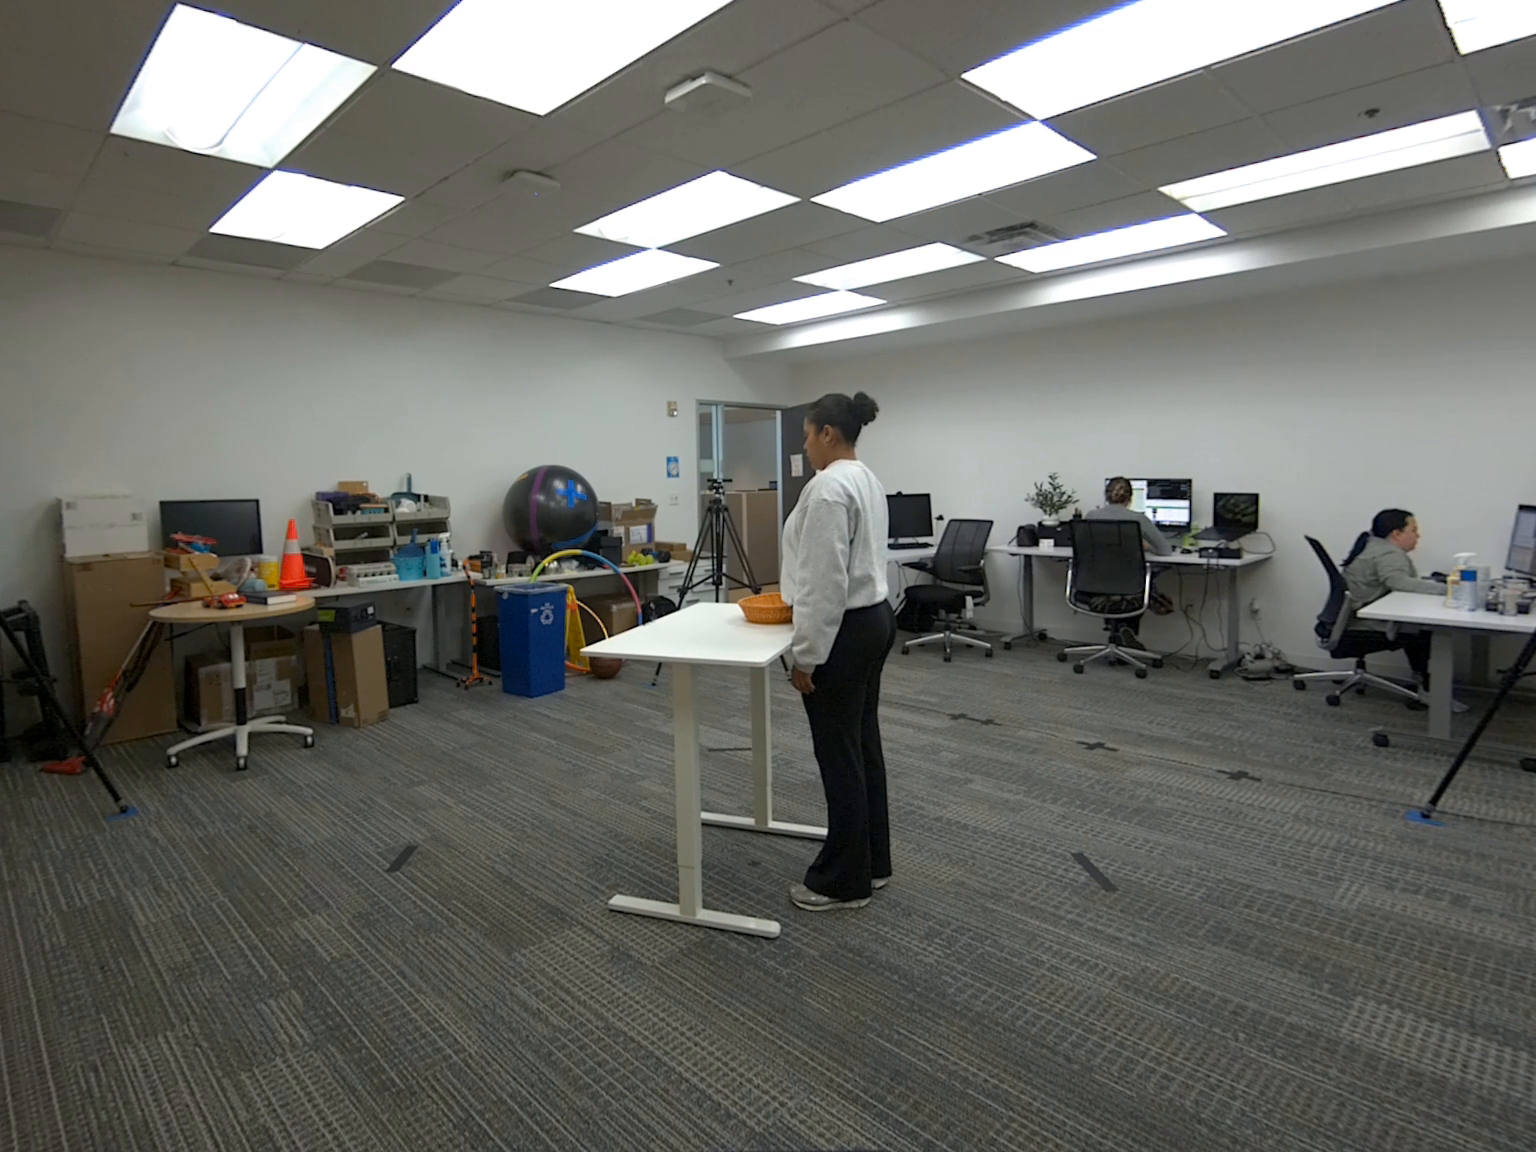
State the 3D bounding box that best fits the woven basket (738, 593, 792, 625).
[{"bbox_3d":[0.049,0.126,3.145,0.259,0.073,0.342,2,7,33],"label":"woven basket"}]
